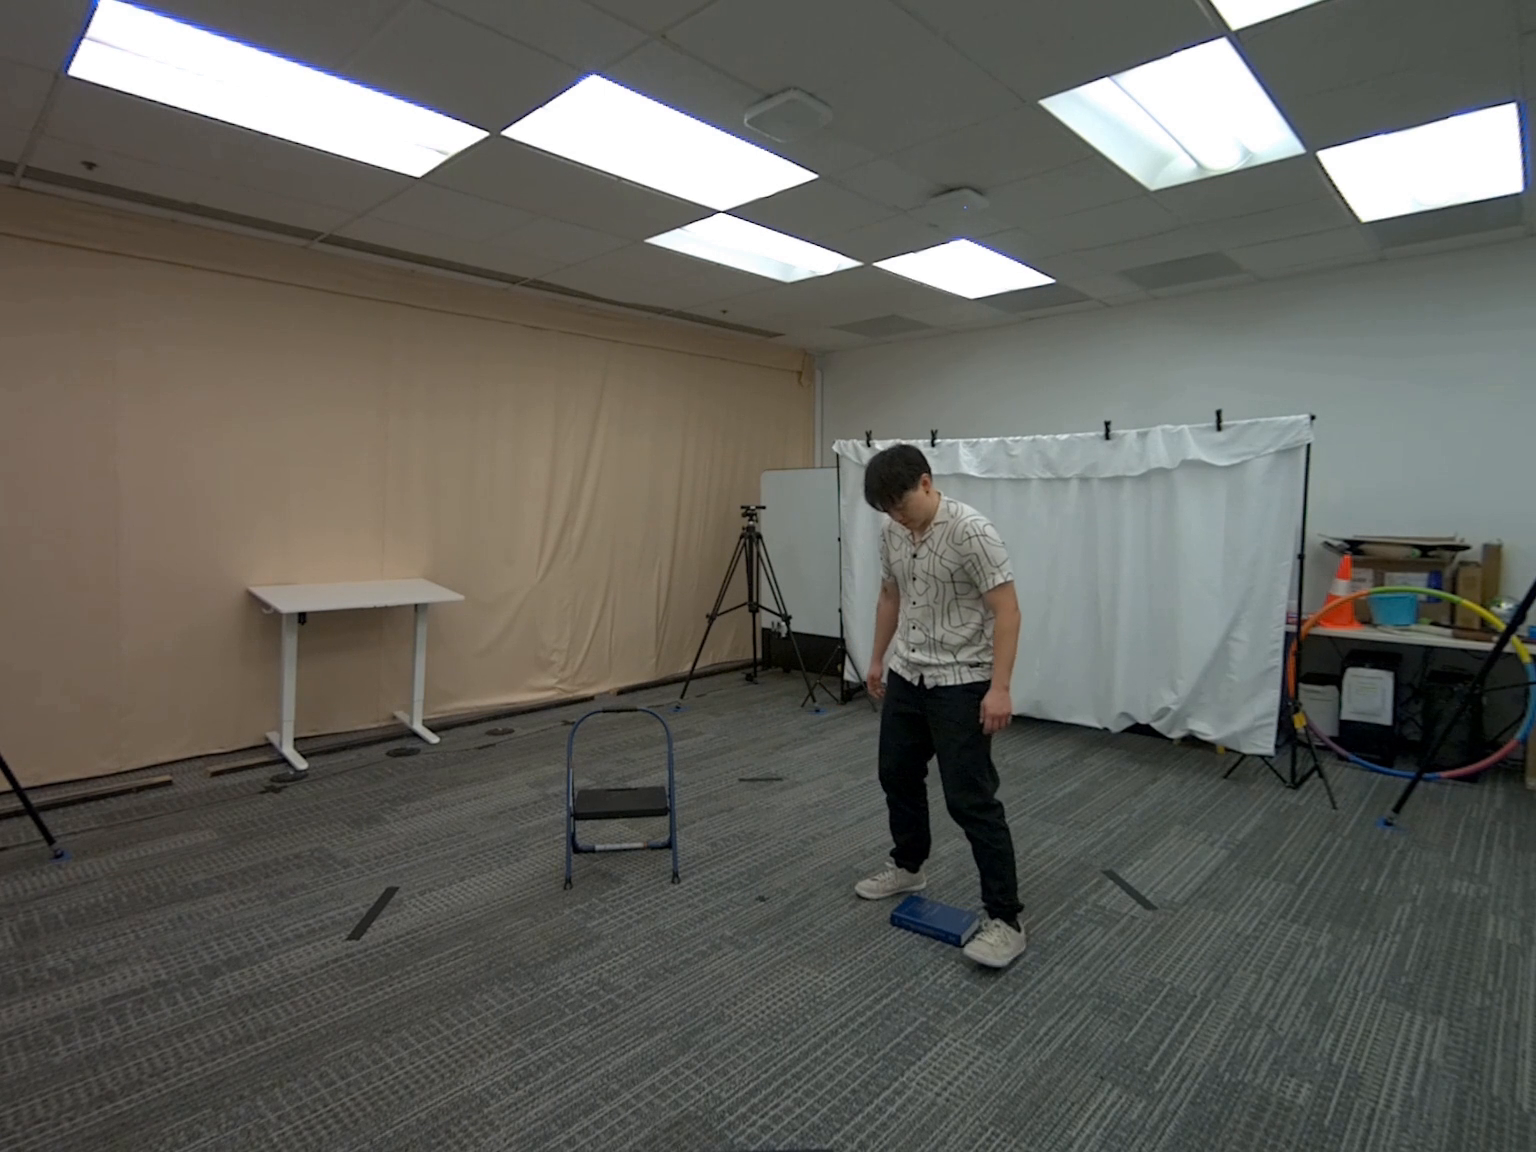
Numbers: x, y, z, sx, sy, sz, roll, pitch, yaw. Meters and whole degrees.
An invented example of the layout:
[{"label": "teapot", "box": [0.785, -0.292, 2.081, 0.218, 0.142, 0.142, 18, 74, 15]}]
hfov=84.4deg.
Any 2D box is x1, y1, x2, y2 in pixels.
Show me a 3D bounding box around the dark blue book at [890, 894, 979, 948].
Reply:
[{"label": "dark blue book", "box": [0.556, 1.134, 2.779, 0.253, 0.045, 0.159, 3, 6, 36]}]
